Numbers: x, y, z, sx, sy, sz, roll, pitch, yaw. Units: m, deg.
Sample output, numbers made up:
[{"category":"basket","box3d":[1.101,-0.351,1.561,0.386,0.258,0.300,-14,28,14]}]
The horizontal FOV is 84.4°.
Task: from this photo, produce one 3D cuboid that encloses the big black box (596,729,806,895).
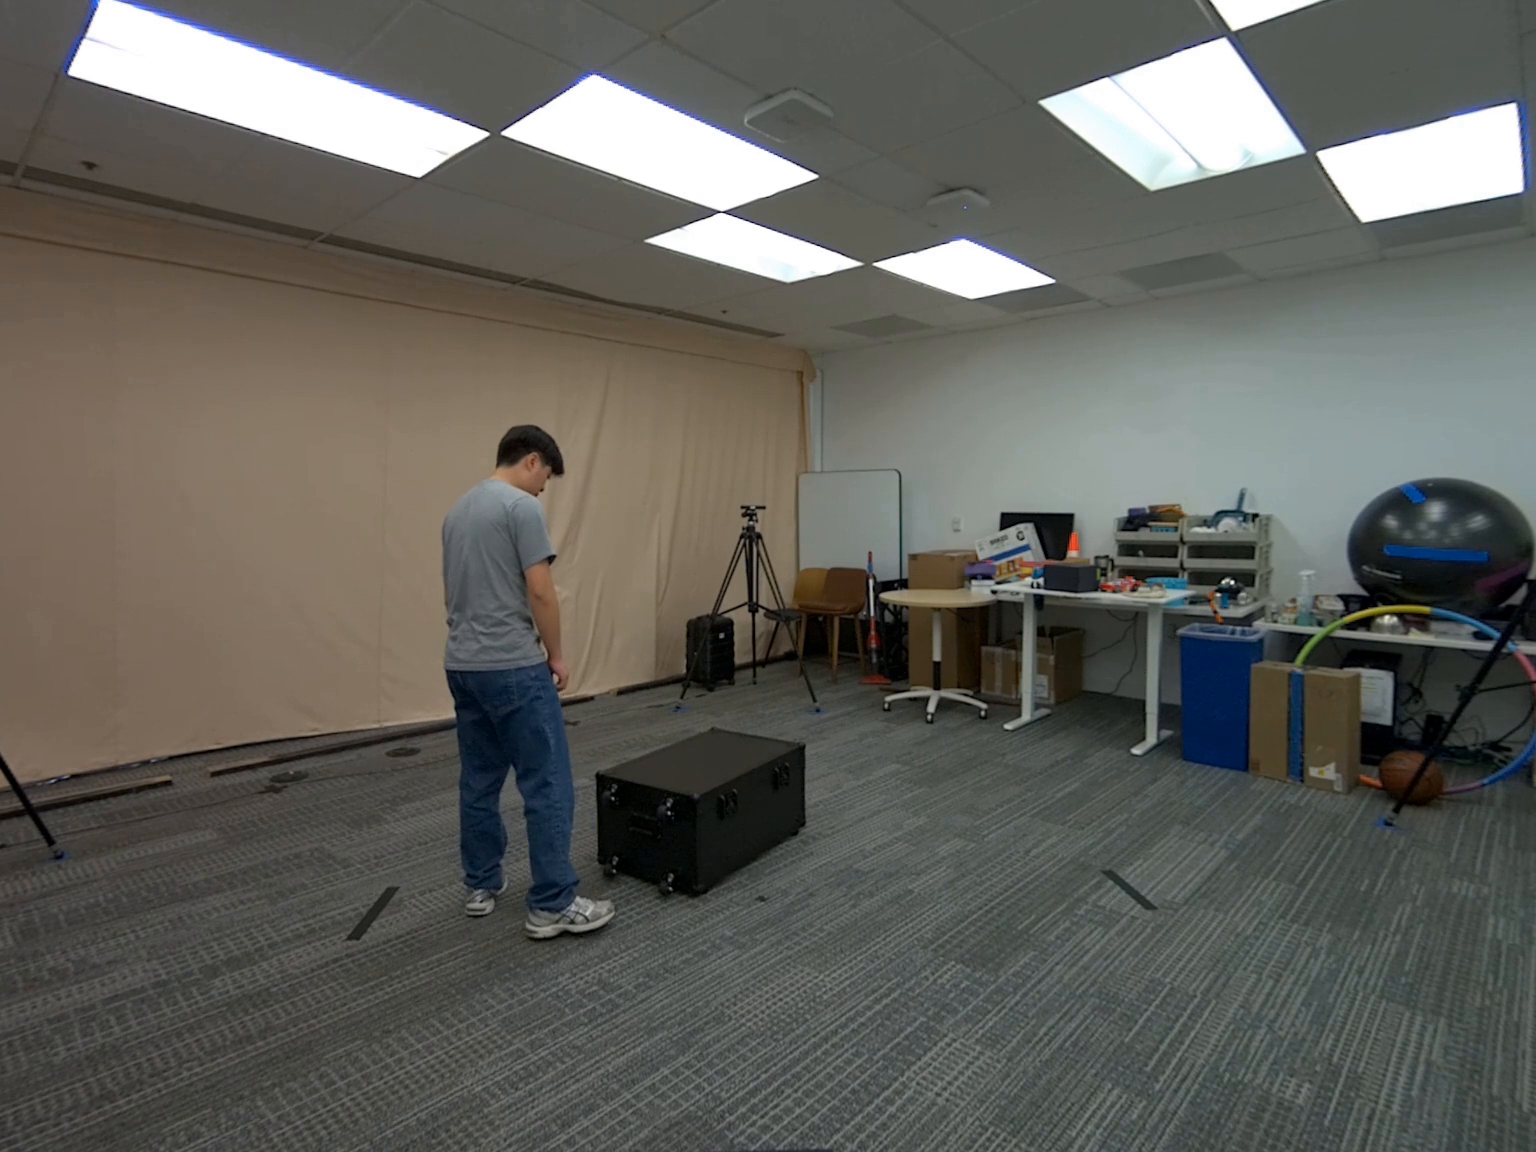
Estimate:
[{"category":"big black box","box3d":[-0.264,0.922,3.381,0.537,0.395,0.838,3,6,33]}]
